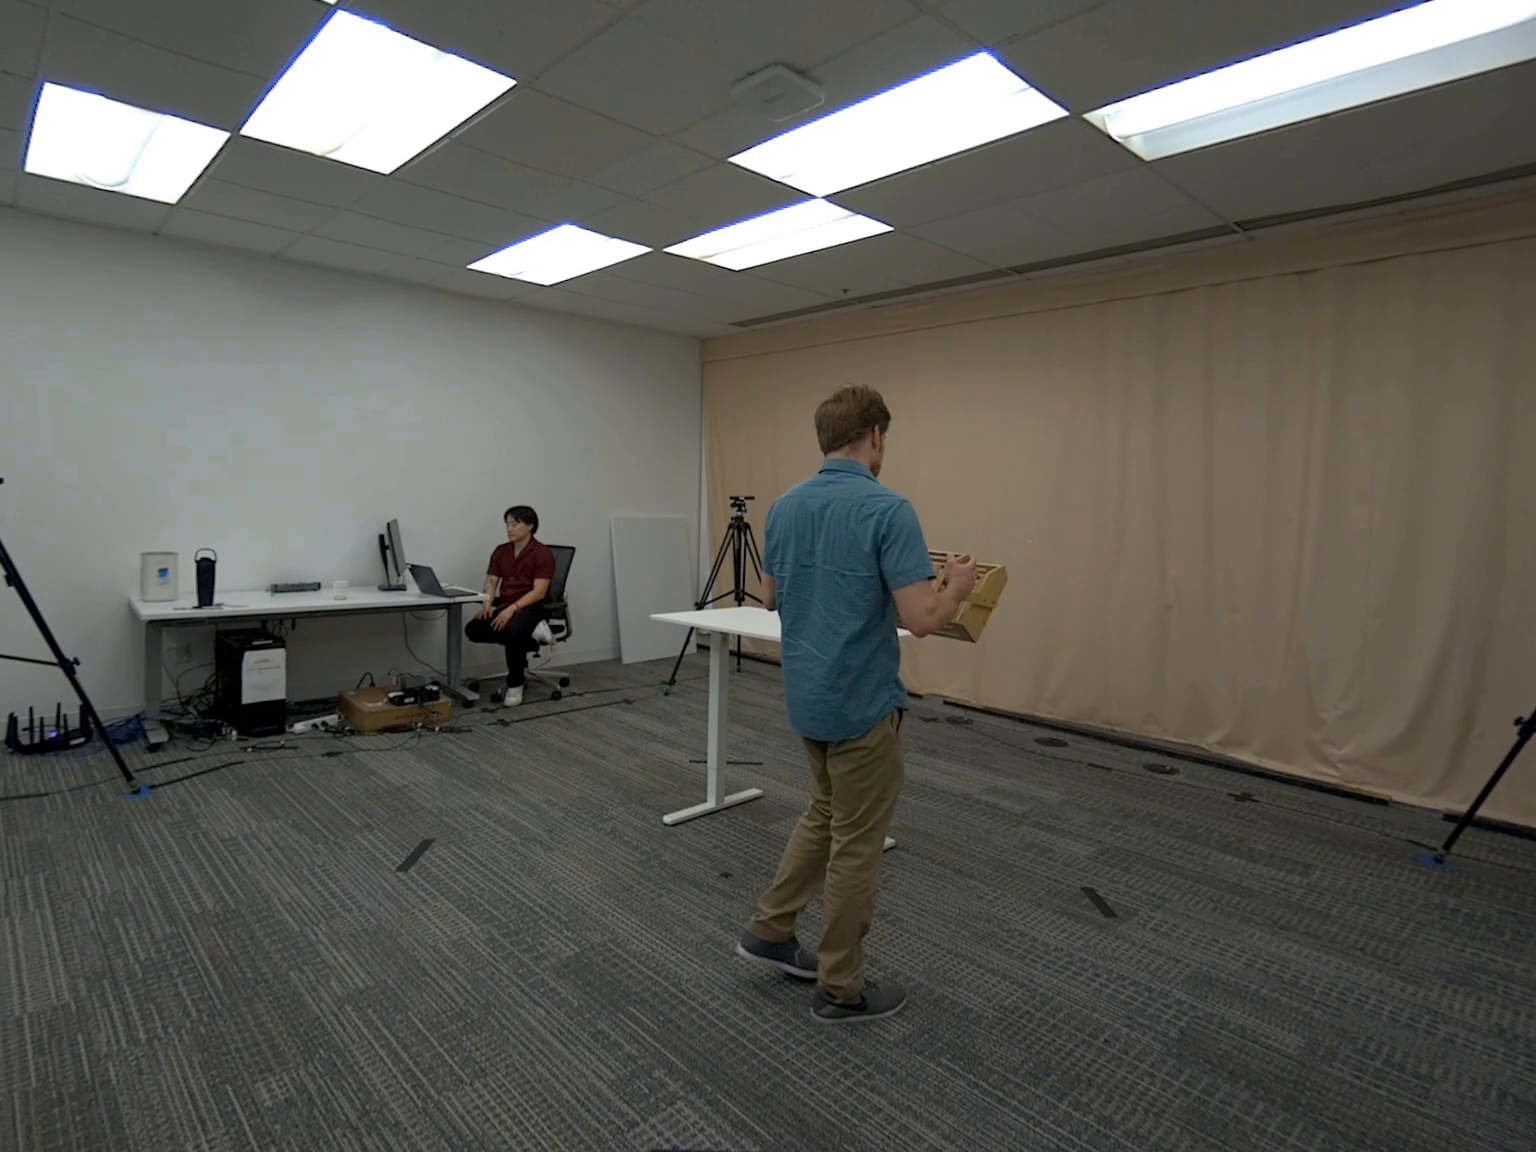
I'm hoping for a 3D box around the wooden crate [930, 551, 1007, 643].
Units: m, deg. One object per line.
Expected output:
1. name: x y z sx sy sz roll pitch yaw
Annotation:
1. wooden crate: 0.470 0.024 2.483 0.333 0.303 0.265 8 -33 47
